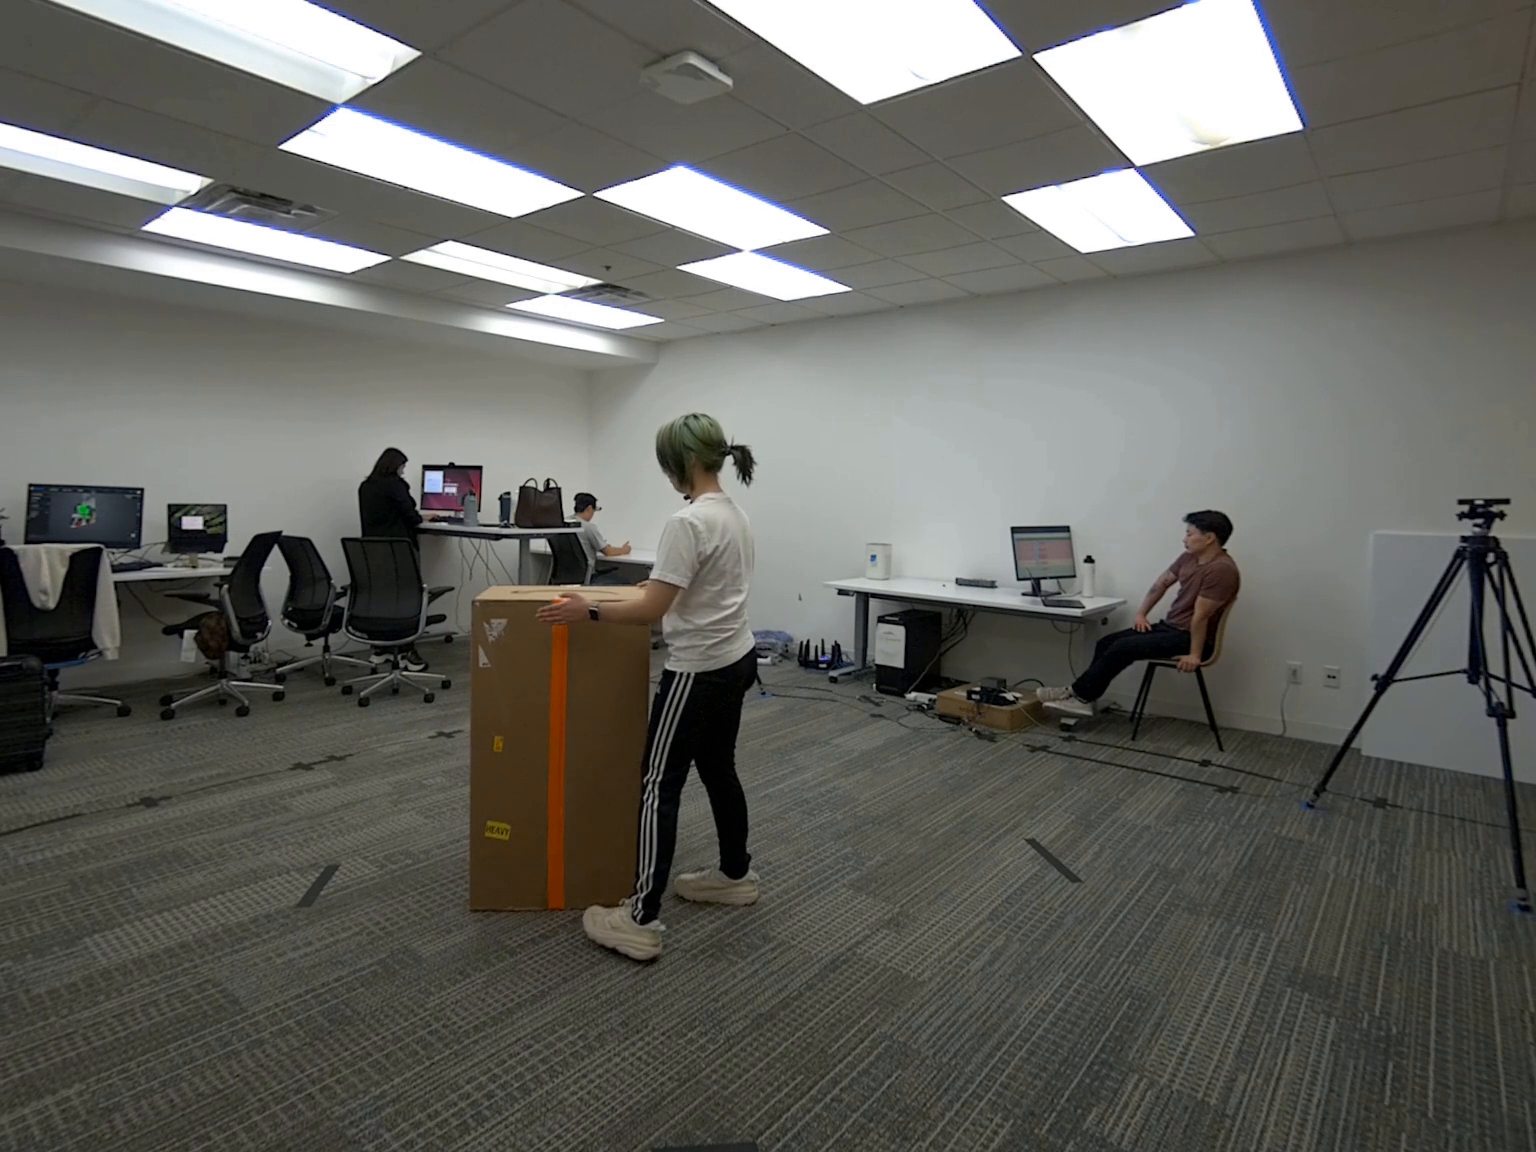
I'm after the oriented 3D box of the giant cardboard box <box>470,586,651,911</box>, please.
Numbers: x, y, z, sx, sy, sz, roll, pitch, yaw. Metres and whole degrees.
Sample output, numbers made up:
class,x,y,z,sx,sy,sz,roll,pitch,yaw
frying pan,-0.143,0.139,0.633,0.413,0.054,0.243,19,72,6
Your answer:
class,x,y,z,sx,sy,sz,roll,pitch,yaw
giant cardboard box,-0.729,0.568,2.988,0.574,1.023,0.430,1,3,-7
